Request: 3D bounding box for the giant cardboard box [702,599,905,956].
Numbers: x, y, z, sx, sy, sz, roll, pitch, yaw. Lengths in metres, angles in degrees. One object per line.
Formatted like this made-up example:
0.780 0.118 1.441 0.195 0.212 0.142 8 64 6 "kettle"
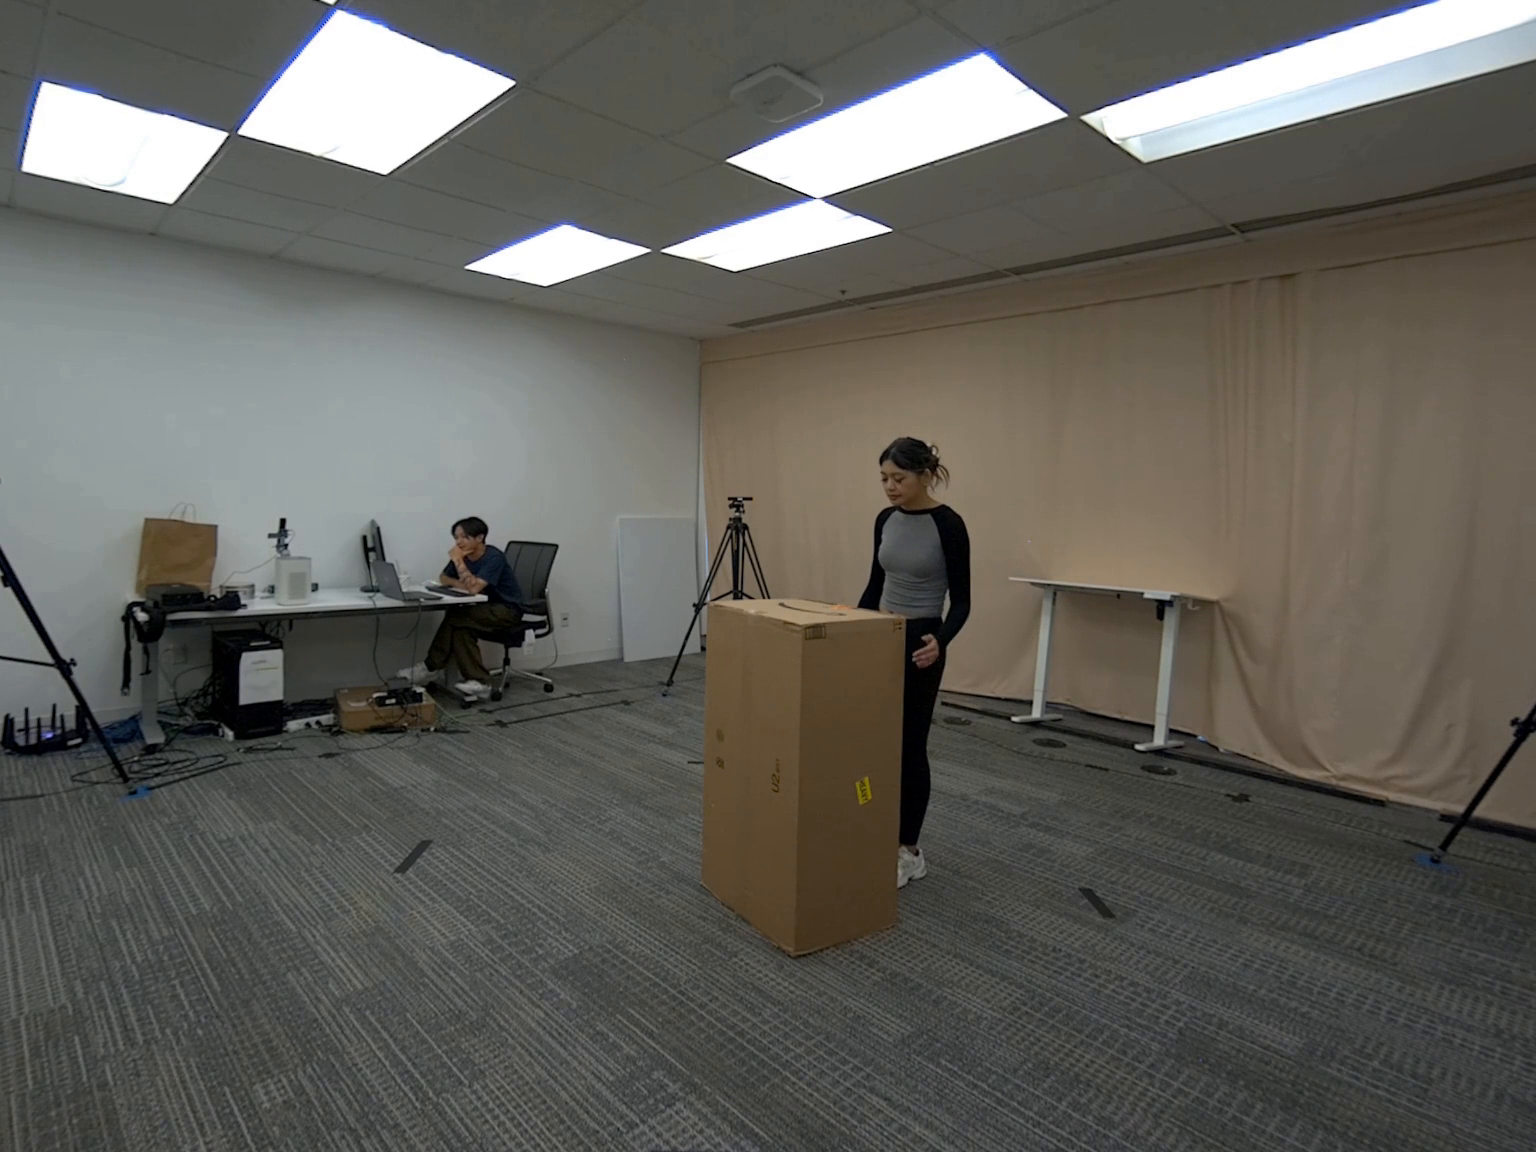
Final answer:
0.101 0.626 2.877 0.437 1.025 0.598 -1 4 -34 "giant cardboard box"
